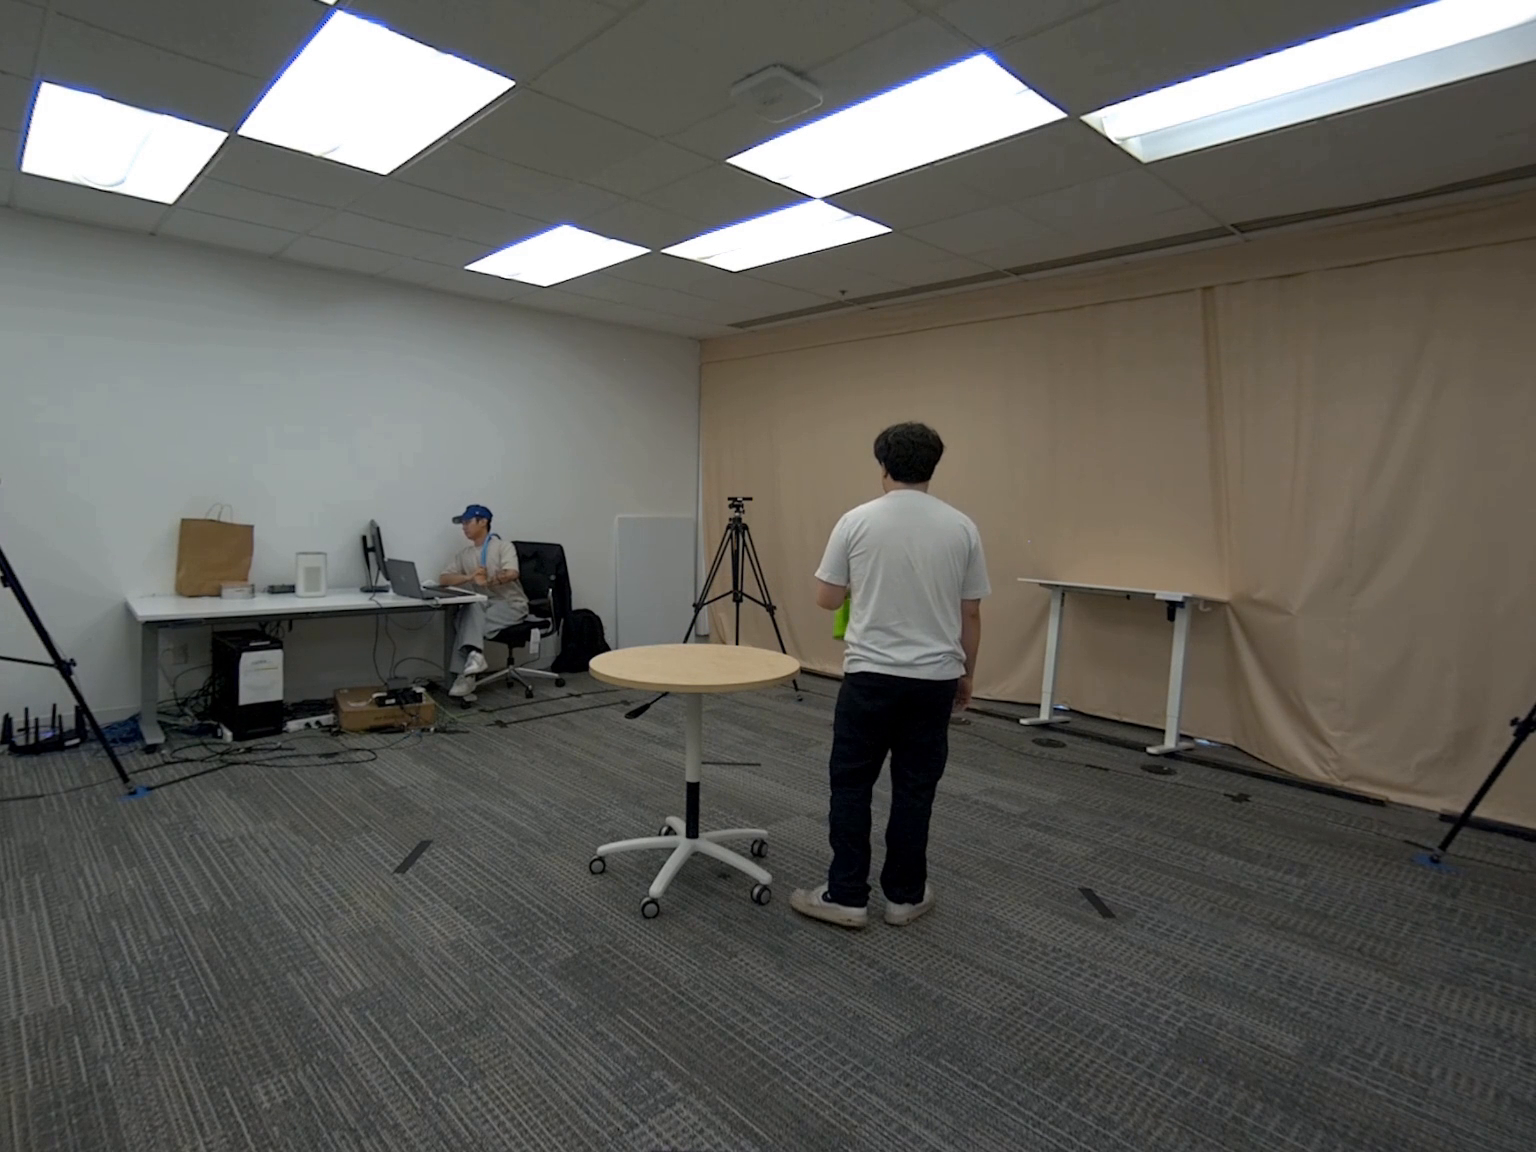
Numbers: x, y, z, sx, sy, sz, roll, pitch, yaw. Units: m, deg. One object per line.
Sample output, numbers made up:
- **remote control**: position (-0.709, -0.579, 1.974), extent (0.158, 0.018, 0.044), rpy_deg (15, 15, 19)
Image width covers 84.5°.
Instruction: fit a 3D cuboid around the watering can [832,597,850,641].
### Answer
- **watering can**: position (0.302, 0.160, 3.210), extent (0.100, 0.178, 0.271), rpy_deg (-1, -13, 23)
